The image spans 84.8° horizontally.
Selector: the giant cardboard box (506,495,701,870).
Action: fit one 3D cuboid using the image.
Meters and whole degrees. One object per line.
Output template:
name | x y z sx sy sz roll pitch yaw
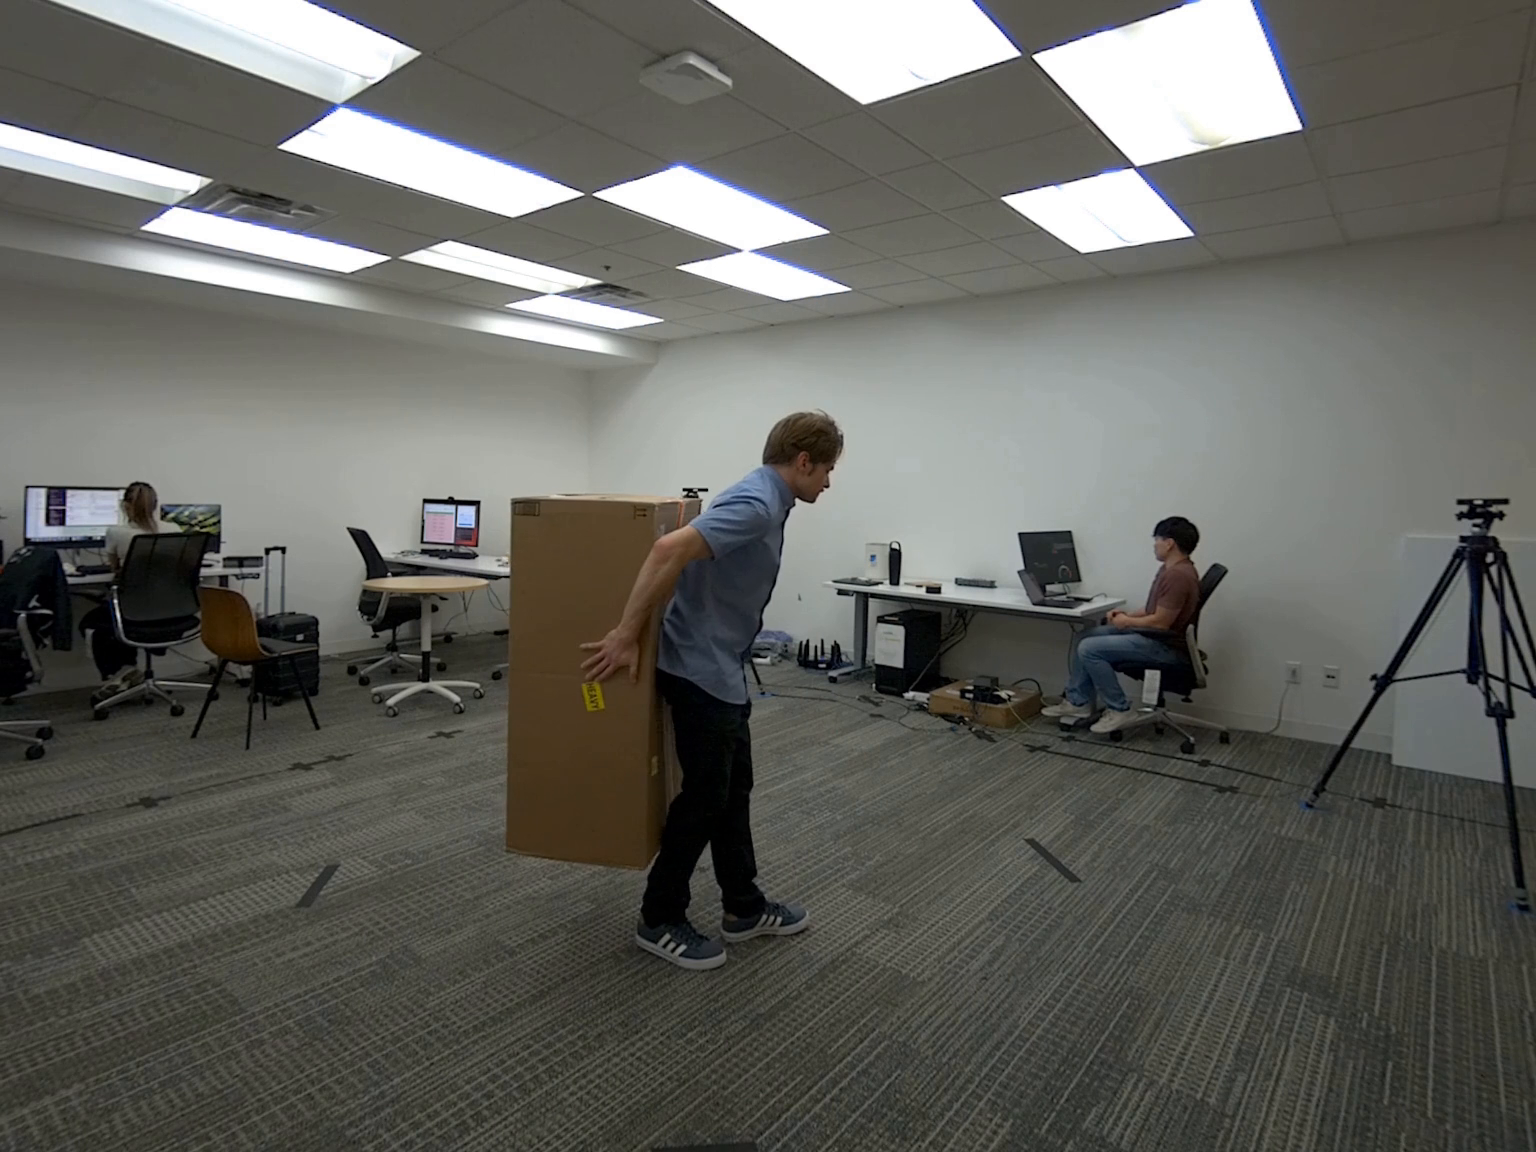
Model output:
giant cardboard box | -0.498 0.266 2.645 0.452 1.023 0.579 2 4 10
